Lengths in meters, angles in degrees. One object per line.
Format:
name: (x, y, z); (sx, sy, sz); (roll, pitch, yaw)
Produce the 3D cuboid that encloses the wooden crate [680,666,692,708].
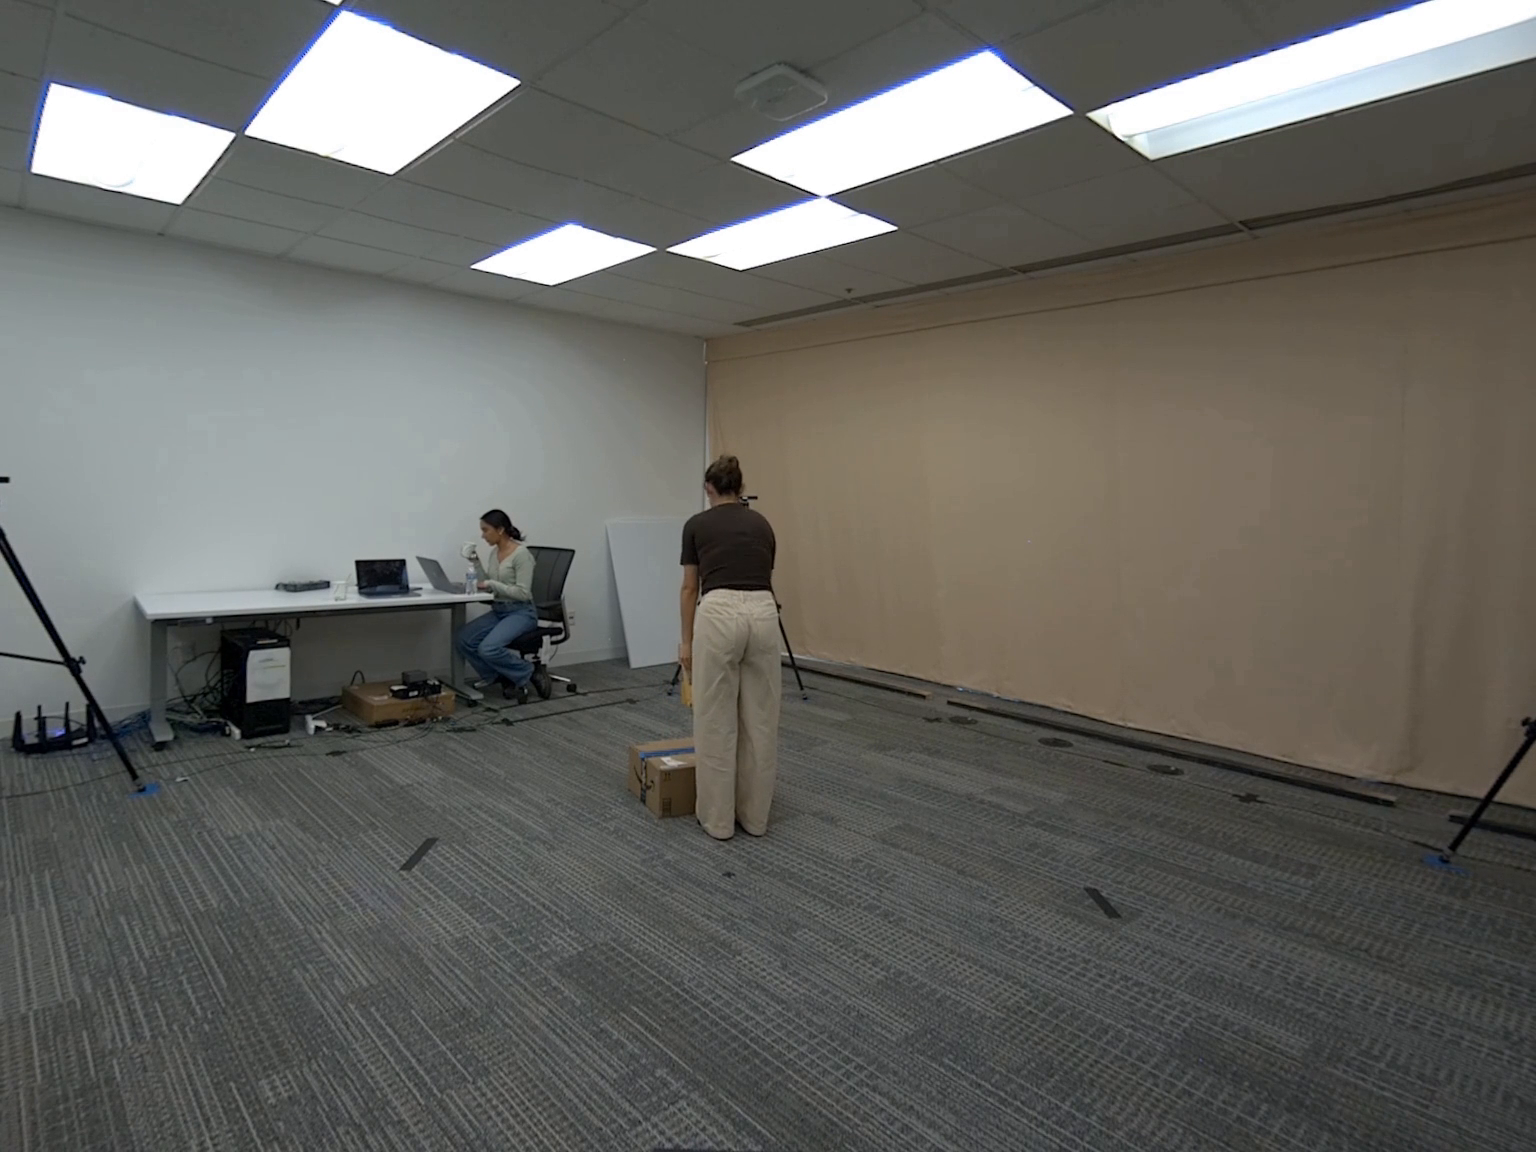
wooden crate: (-0.217, 0.444, 3.742); (0.319, 0.273, 0.307); (1, 1, -24)
